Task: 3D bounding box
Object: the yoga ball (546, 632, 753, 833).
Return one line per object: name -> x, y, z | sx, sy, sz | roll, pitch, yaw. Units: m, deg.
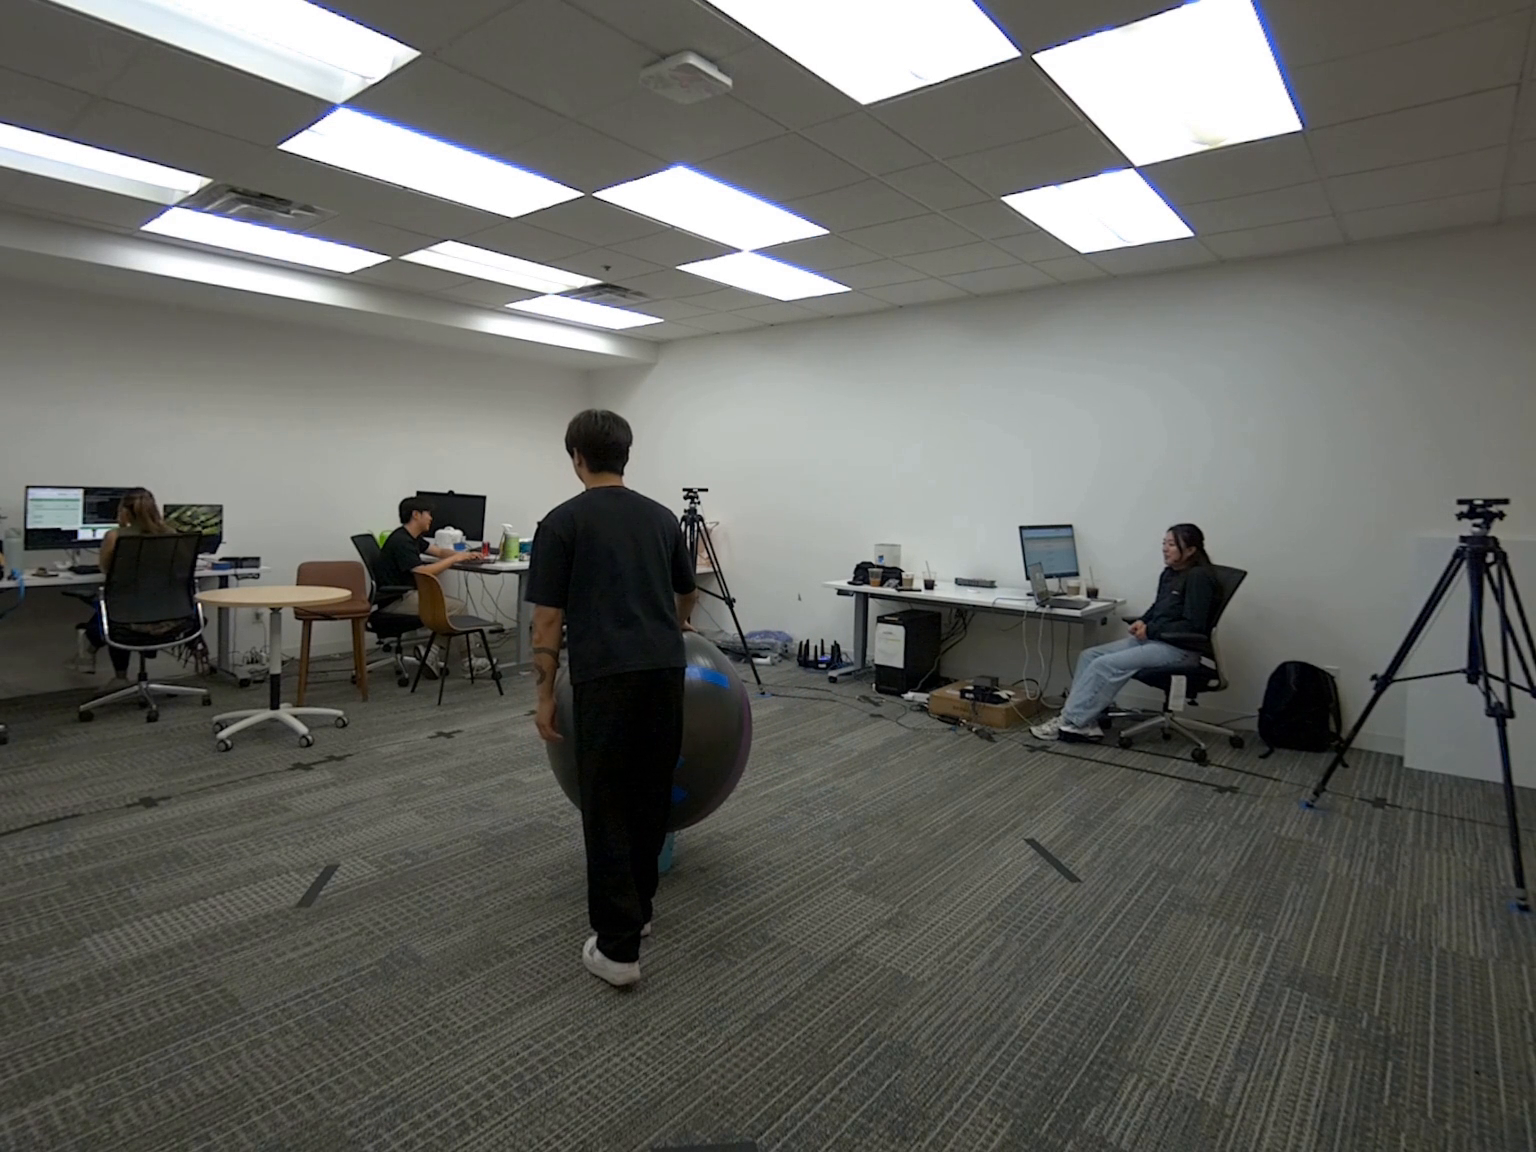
yoga ball -> -0.446, 0.551, 3.135 | 0.757, 0.756, 0.762 | 1, 4, -2
